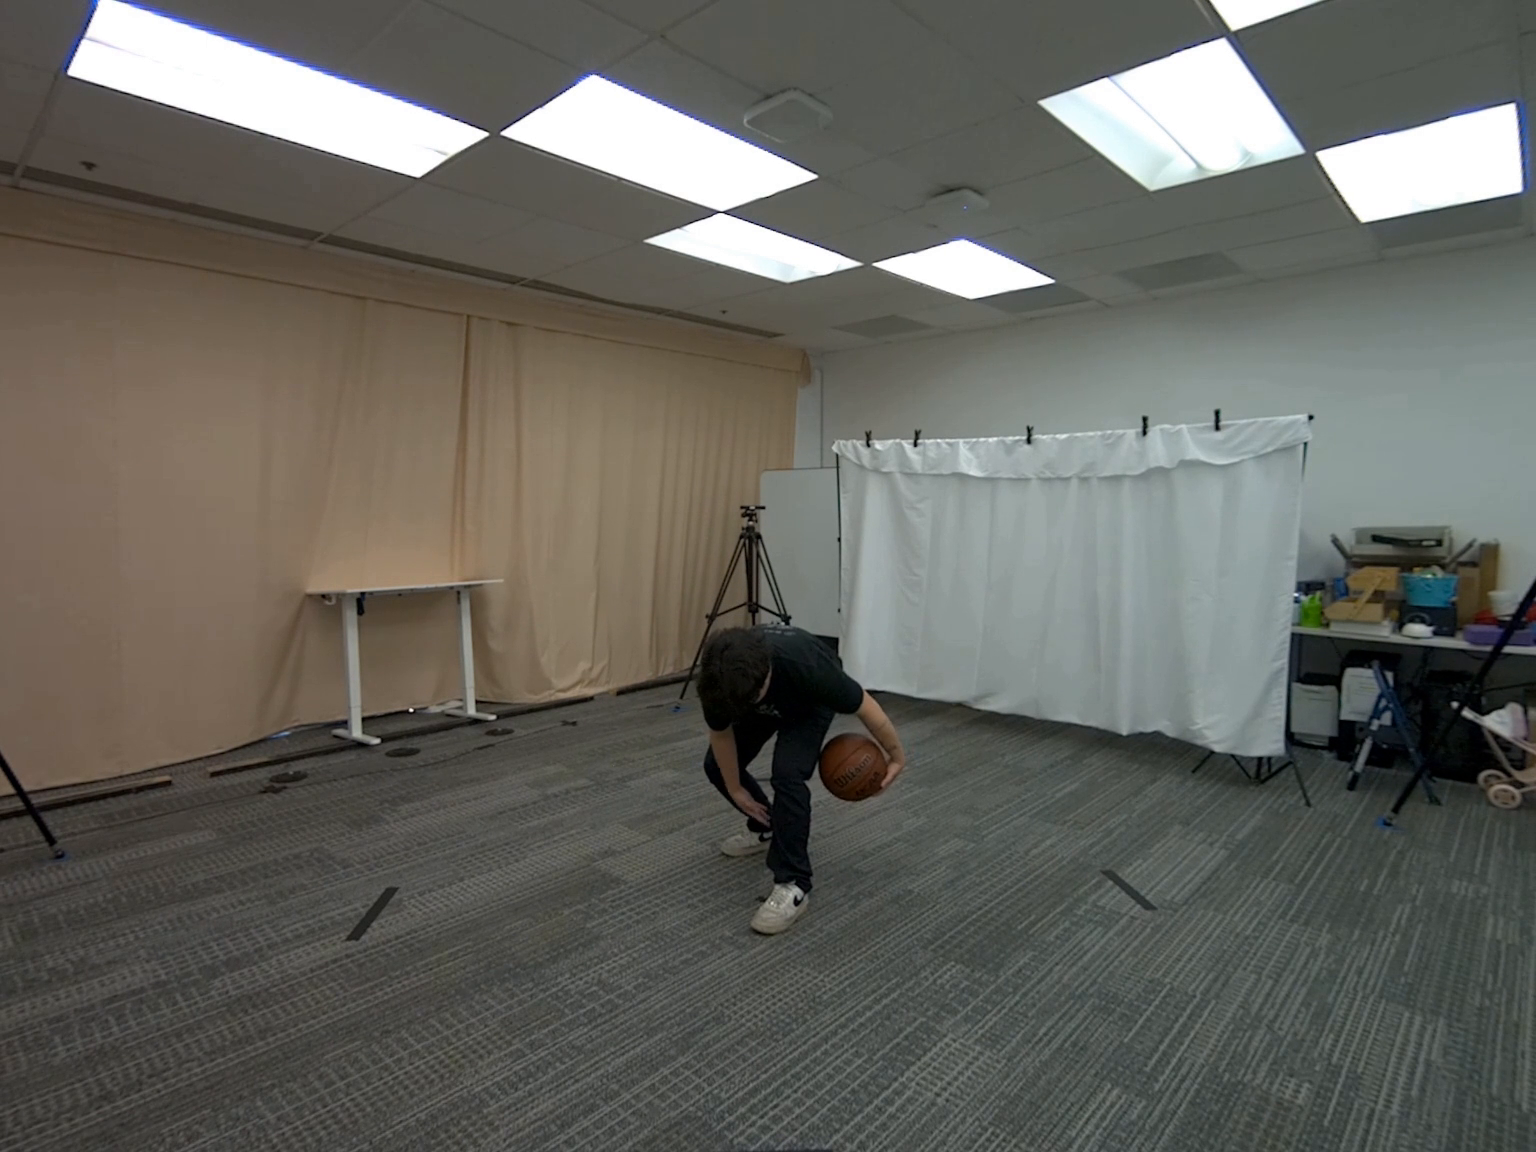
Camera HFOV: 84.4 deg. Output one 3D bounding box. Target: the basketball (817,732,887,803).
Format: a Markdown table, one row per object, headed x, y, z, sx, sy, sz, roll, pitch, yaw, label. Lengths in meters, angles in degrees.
| x | y | z | sx | sy | sz | roll | pitch | yaw | label |
| --- | --- | --- | --- | --- | --- | --- | --- | --- | --- |
| 0.297 | 0.686 | 2.993 | 0.236 | 0.235 | 0.237 | 0 | 4 | -2 | basketball |
